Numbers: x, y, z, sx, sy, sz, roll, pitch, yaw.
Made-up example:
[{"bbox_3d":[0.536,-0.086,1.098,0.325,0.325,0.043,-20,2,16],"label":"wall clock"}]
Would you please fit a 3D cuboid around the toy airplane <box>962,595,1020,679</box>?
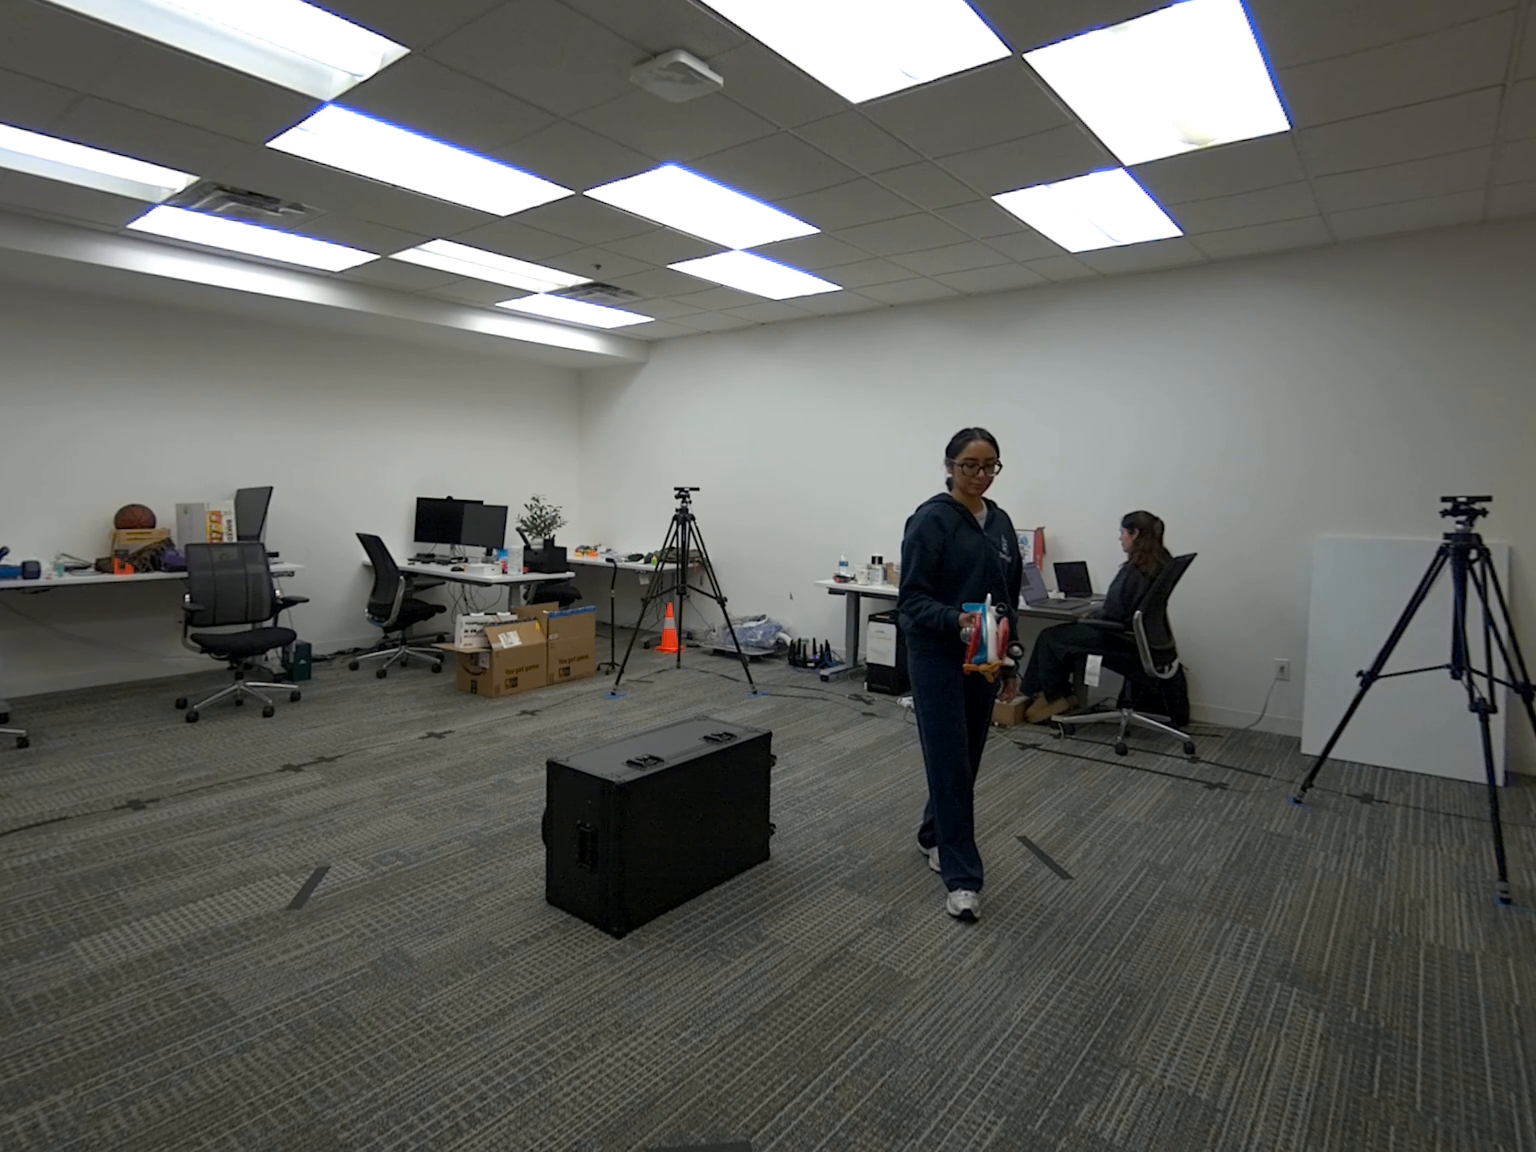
[{"bbox_3d":[0.670,0.196,2.647,0.156,0.246,0.265,-4,23,-2],"label":"toy airplane"}]
